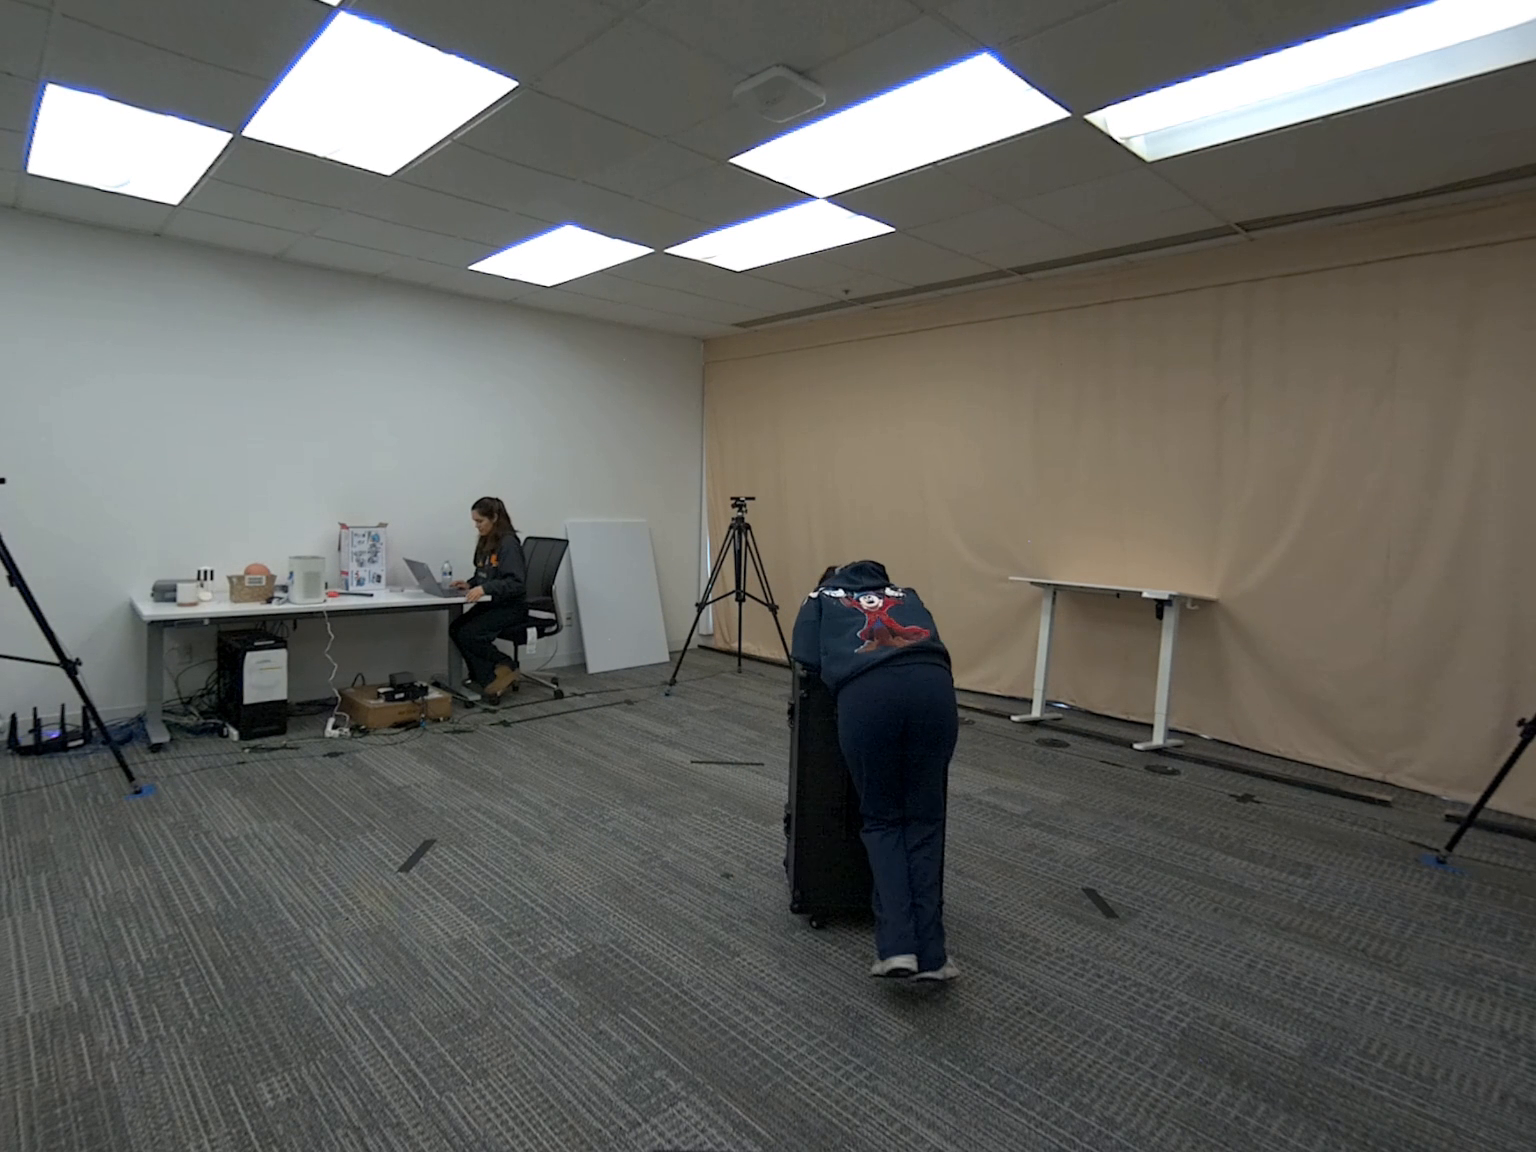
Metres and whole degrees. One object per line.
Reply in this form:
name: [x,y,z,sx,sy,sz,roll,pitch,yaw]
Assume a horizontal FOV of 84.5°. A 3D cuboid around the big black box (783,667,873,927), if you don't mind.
big black box: [0.322,0.724,2.829,0.521,0.858,0.398,2,6,-1]
